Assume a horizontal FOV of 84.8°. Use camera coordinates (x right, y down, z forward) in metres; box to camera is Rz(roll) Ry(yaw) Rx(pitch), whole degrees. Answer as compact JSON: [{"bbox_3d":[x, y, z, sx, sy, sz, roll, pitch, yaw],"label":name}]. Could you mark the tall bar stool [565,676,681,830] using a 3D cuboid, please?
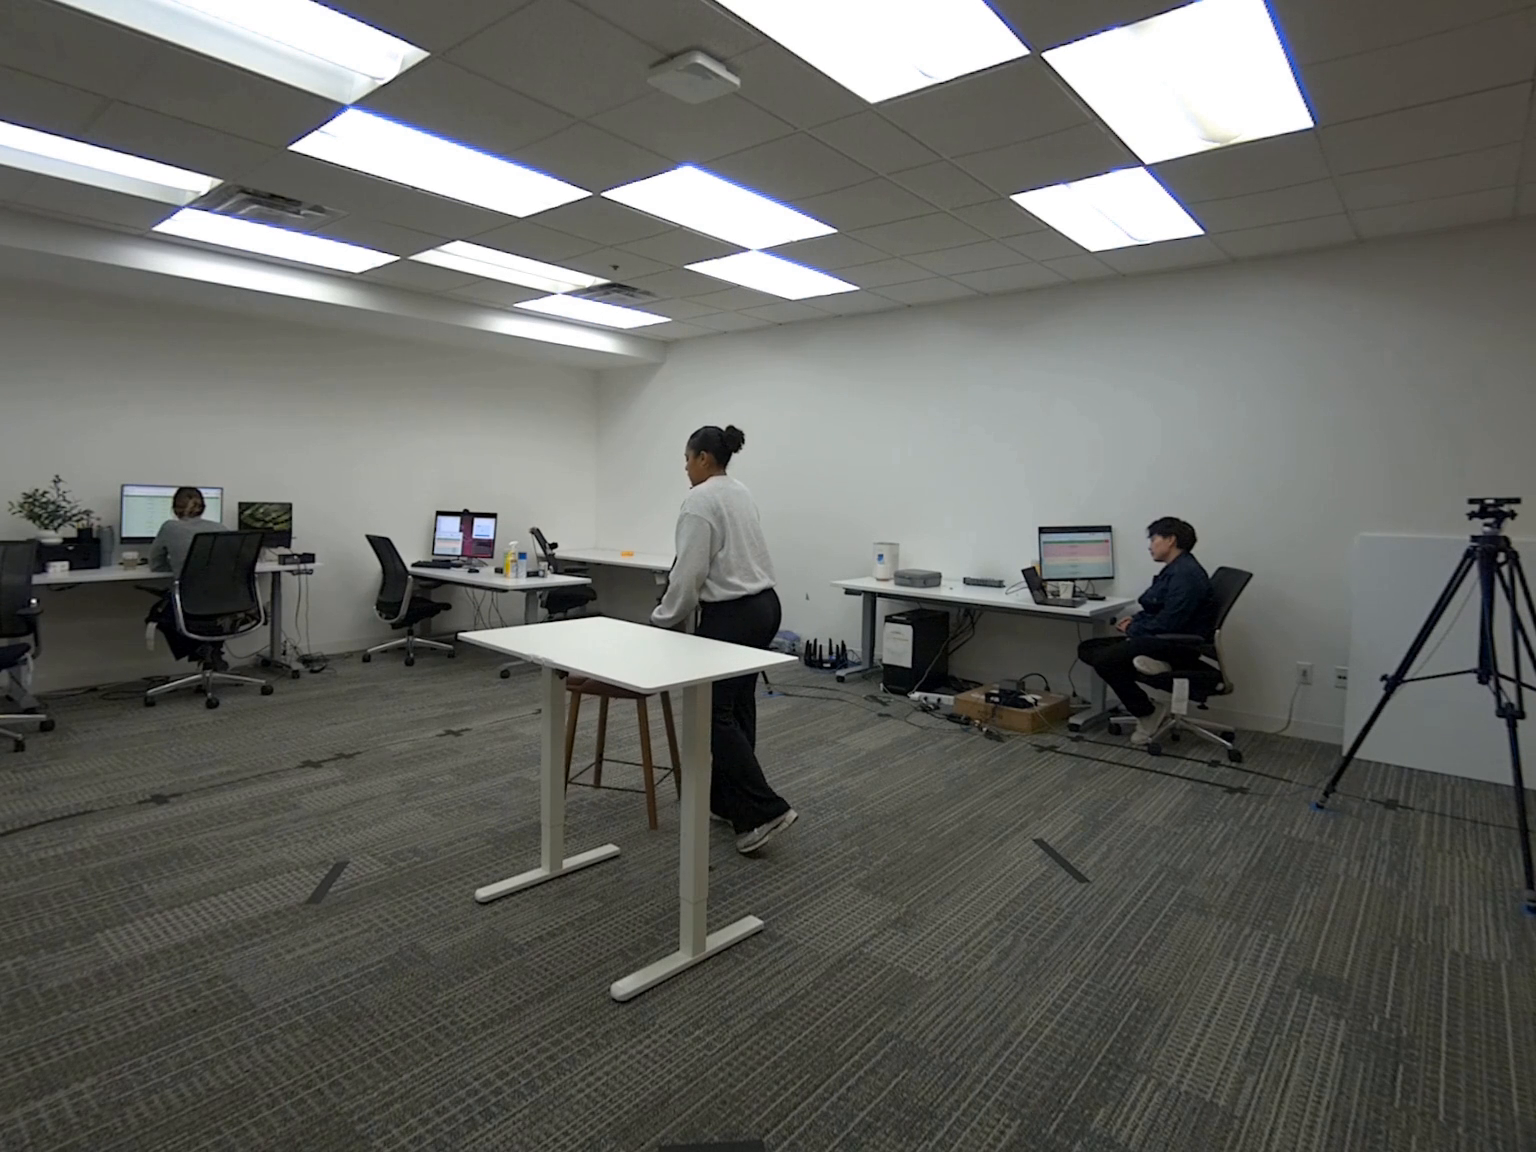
[{"bbox_3d":[-0.625,0.571,3.672,0.476,0.887,0.450,5,4,16],"label":"tall bar stool"}]
